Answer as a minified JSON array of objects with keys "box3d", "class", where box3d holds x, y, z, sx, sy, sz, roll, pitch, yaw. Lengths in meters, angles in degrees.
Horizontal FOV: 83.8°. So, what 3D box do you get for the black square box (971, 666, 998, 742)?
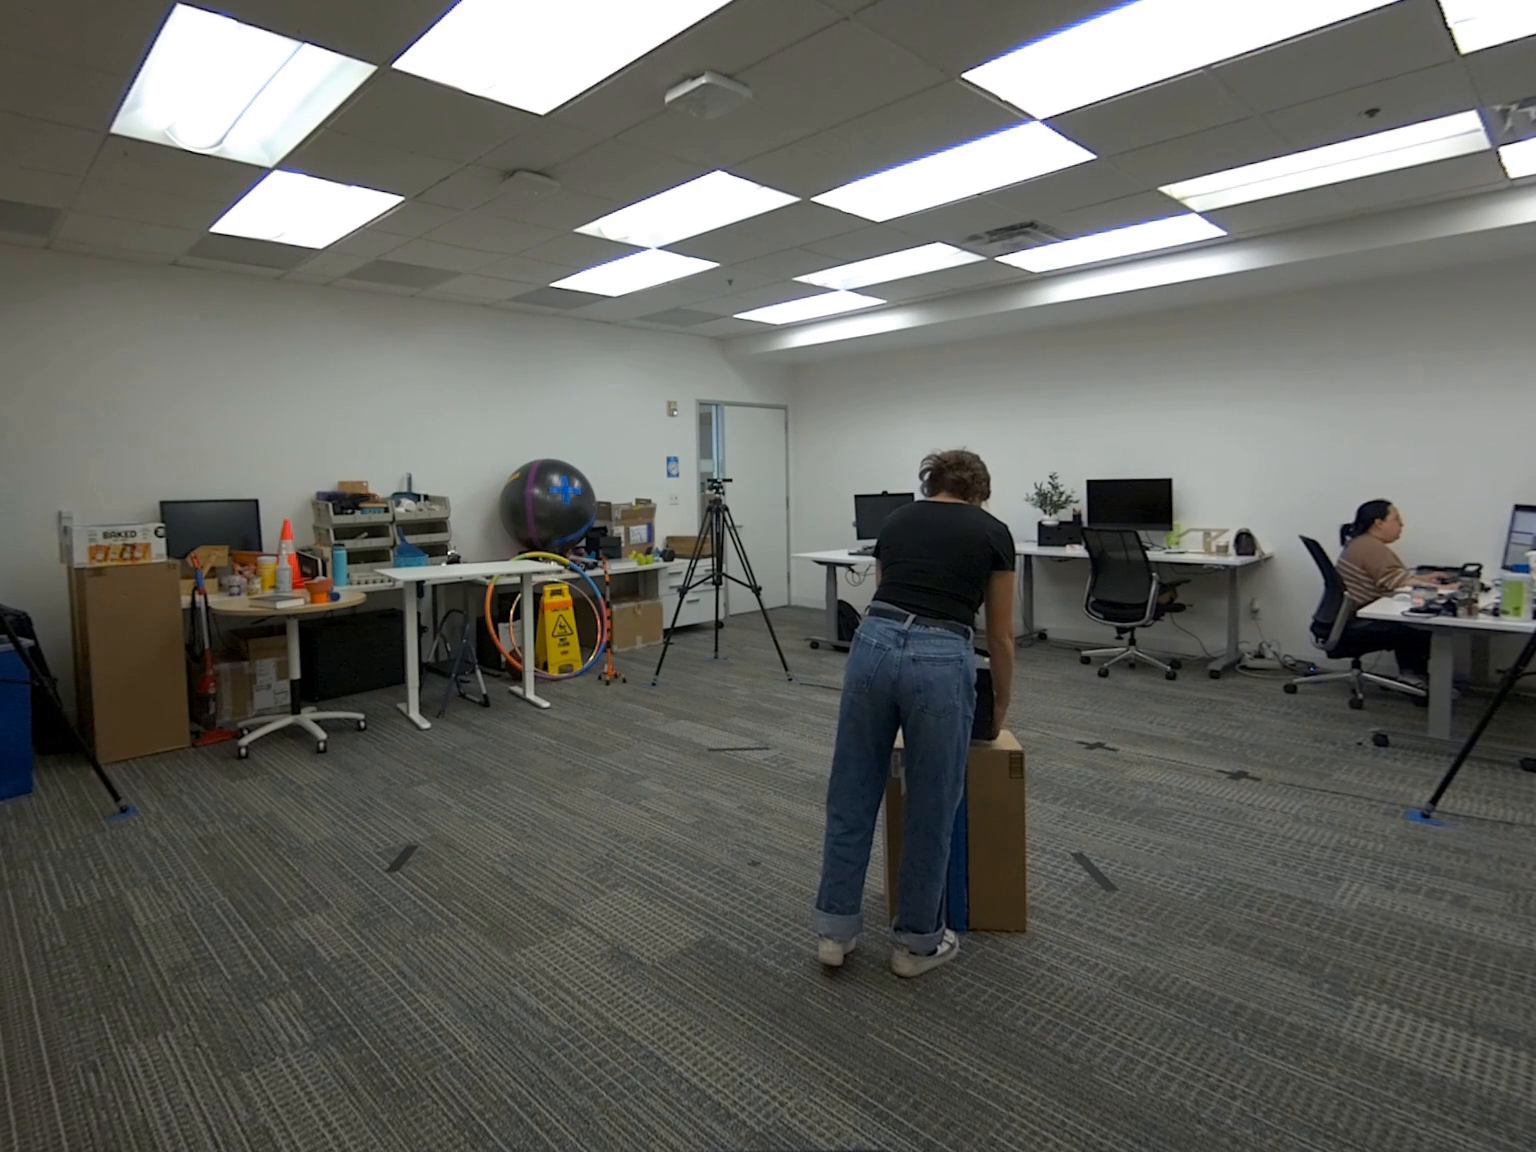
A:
[{"box3d":[0.610,0.369,2.674,0.220,0.226,0.155,1,7,12],"class":"black square box"}]
